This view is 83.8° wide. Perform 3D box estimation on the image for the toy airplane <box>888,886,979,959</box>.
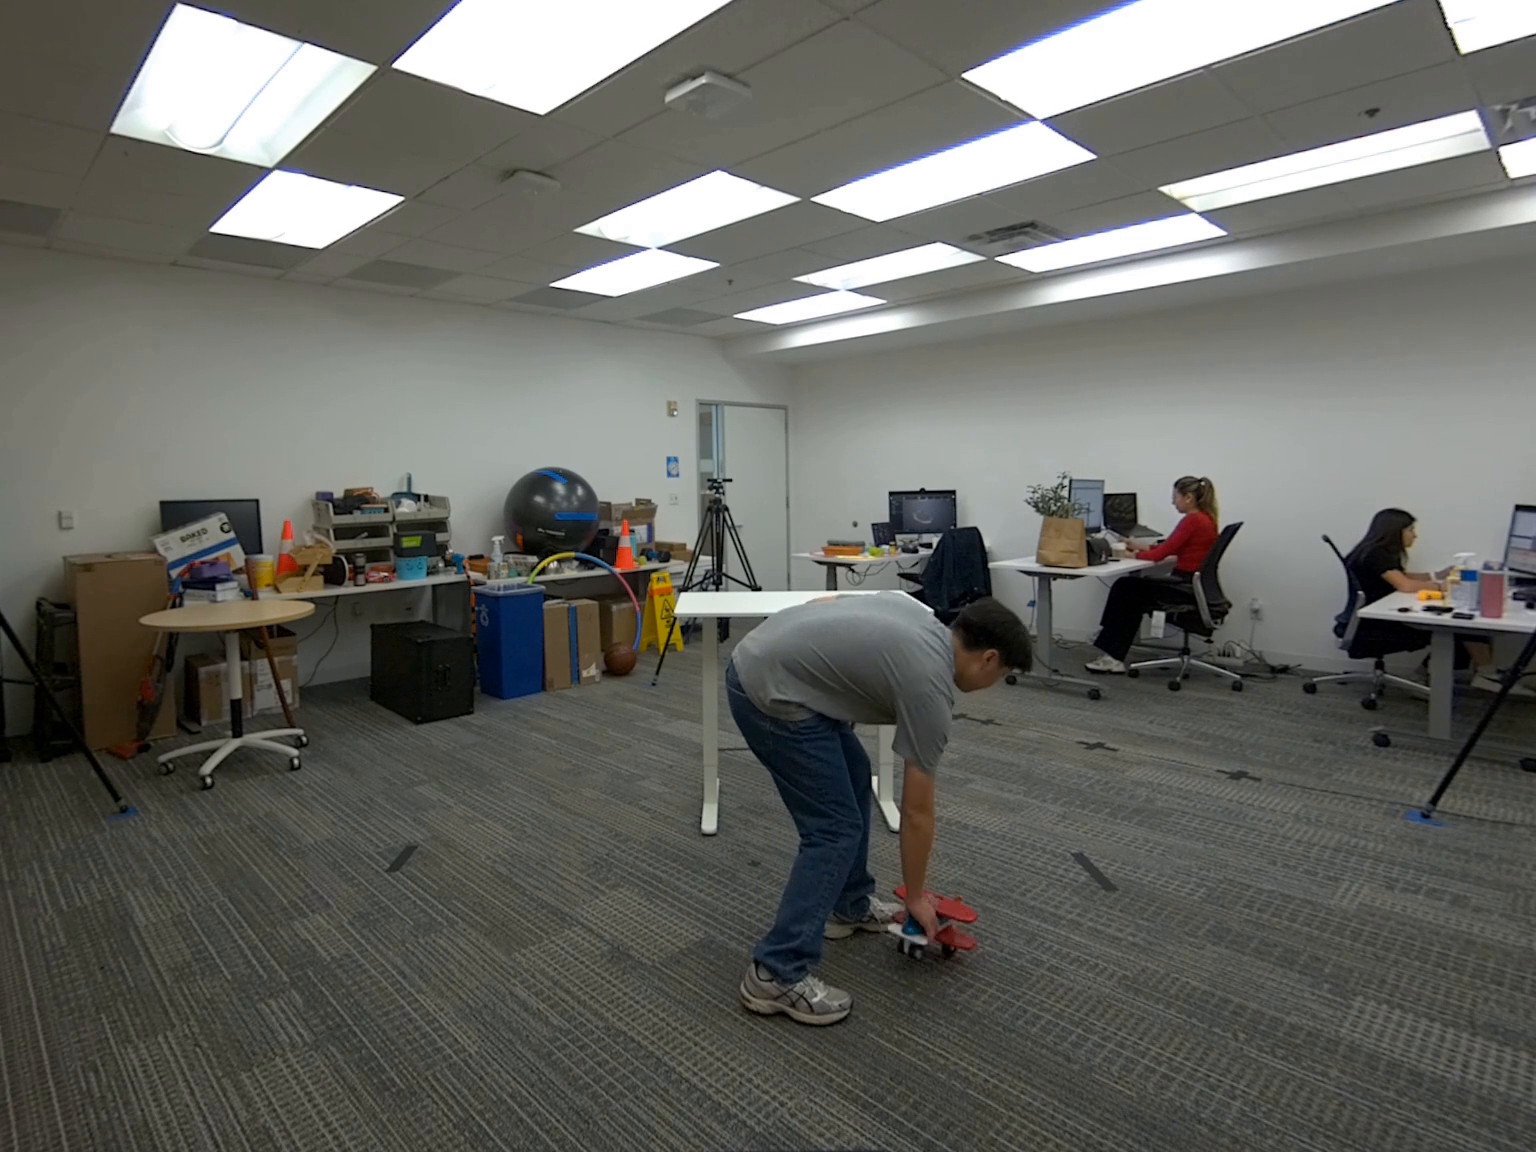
[{"bbox_3d":[0.480,0.994,2.452,0.255,0.157,0.254,12,-7,12],"label":"toy airplane"}]
